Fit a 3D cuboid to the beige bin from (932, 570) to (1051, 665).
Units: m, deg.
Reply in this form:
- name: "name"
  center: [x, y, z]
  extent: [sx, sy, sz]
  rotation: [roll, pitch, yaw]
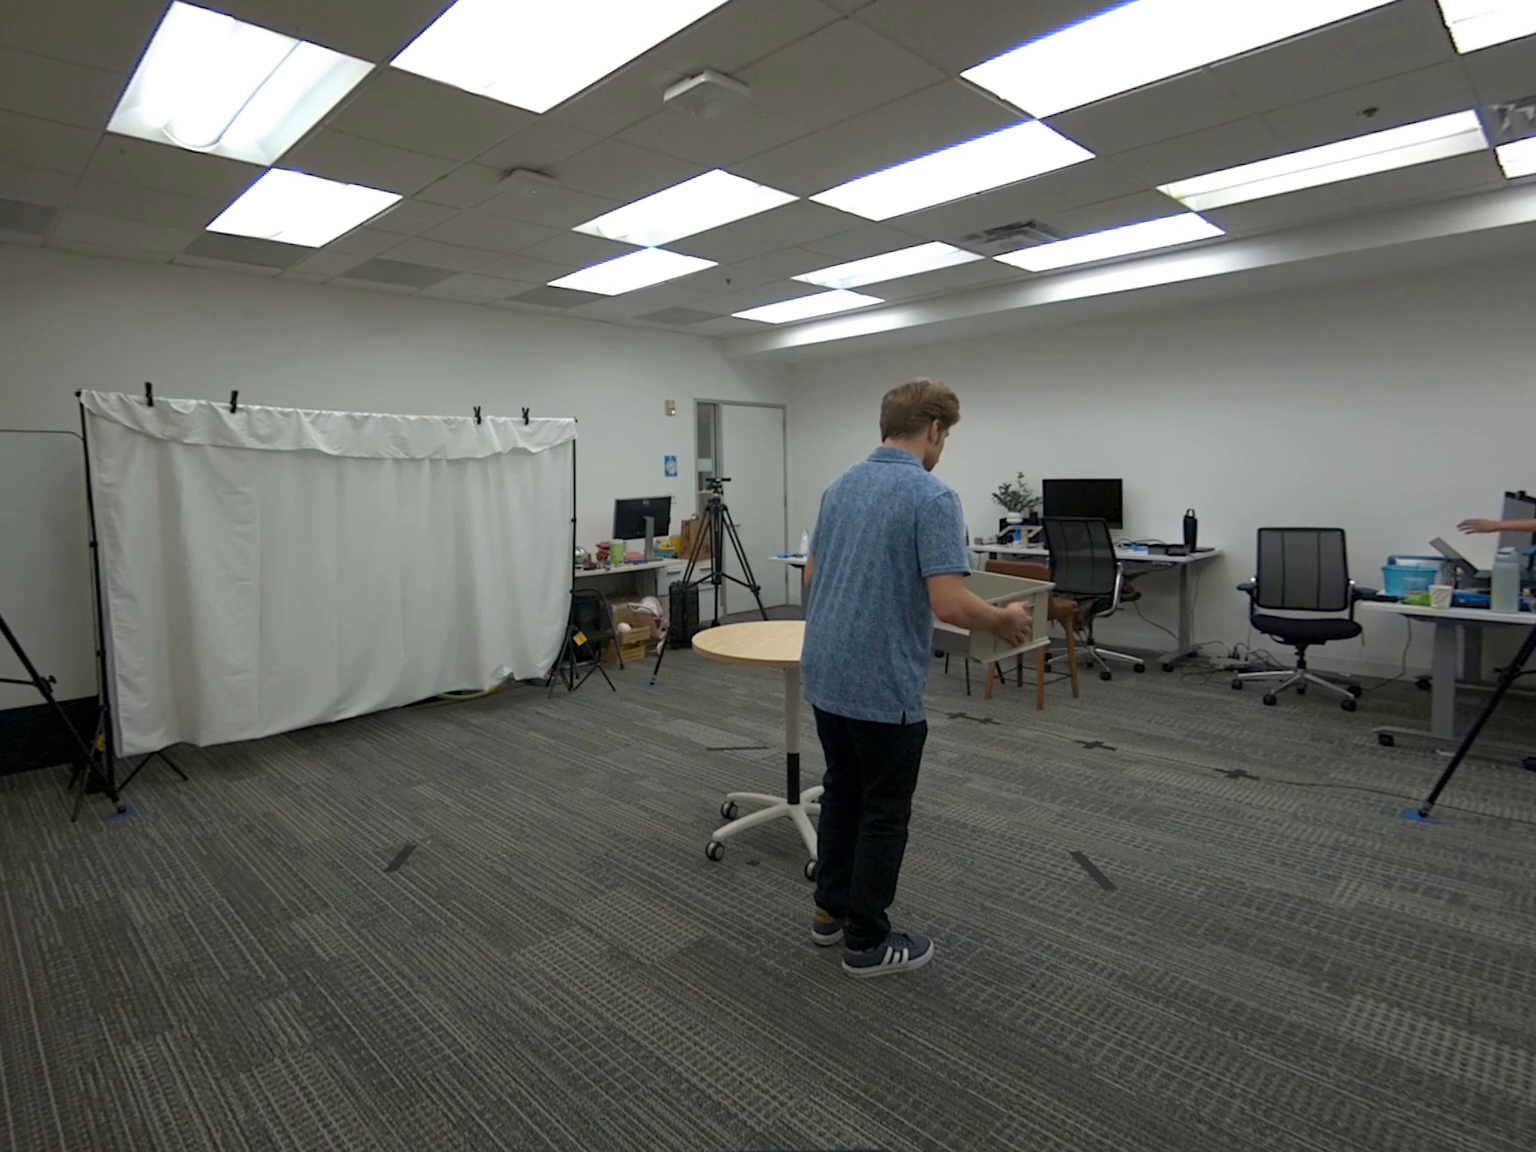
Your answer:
- name: "beige bin"
  center: [0.568, 0.110, 2.580]
  extent: [0.368, 0.187, 0.436]
  rotation: [-7, 11, -35]
